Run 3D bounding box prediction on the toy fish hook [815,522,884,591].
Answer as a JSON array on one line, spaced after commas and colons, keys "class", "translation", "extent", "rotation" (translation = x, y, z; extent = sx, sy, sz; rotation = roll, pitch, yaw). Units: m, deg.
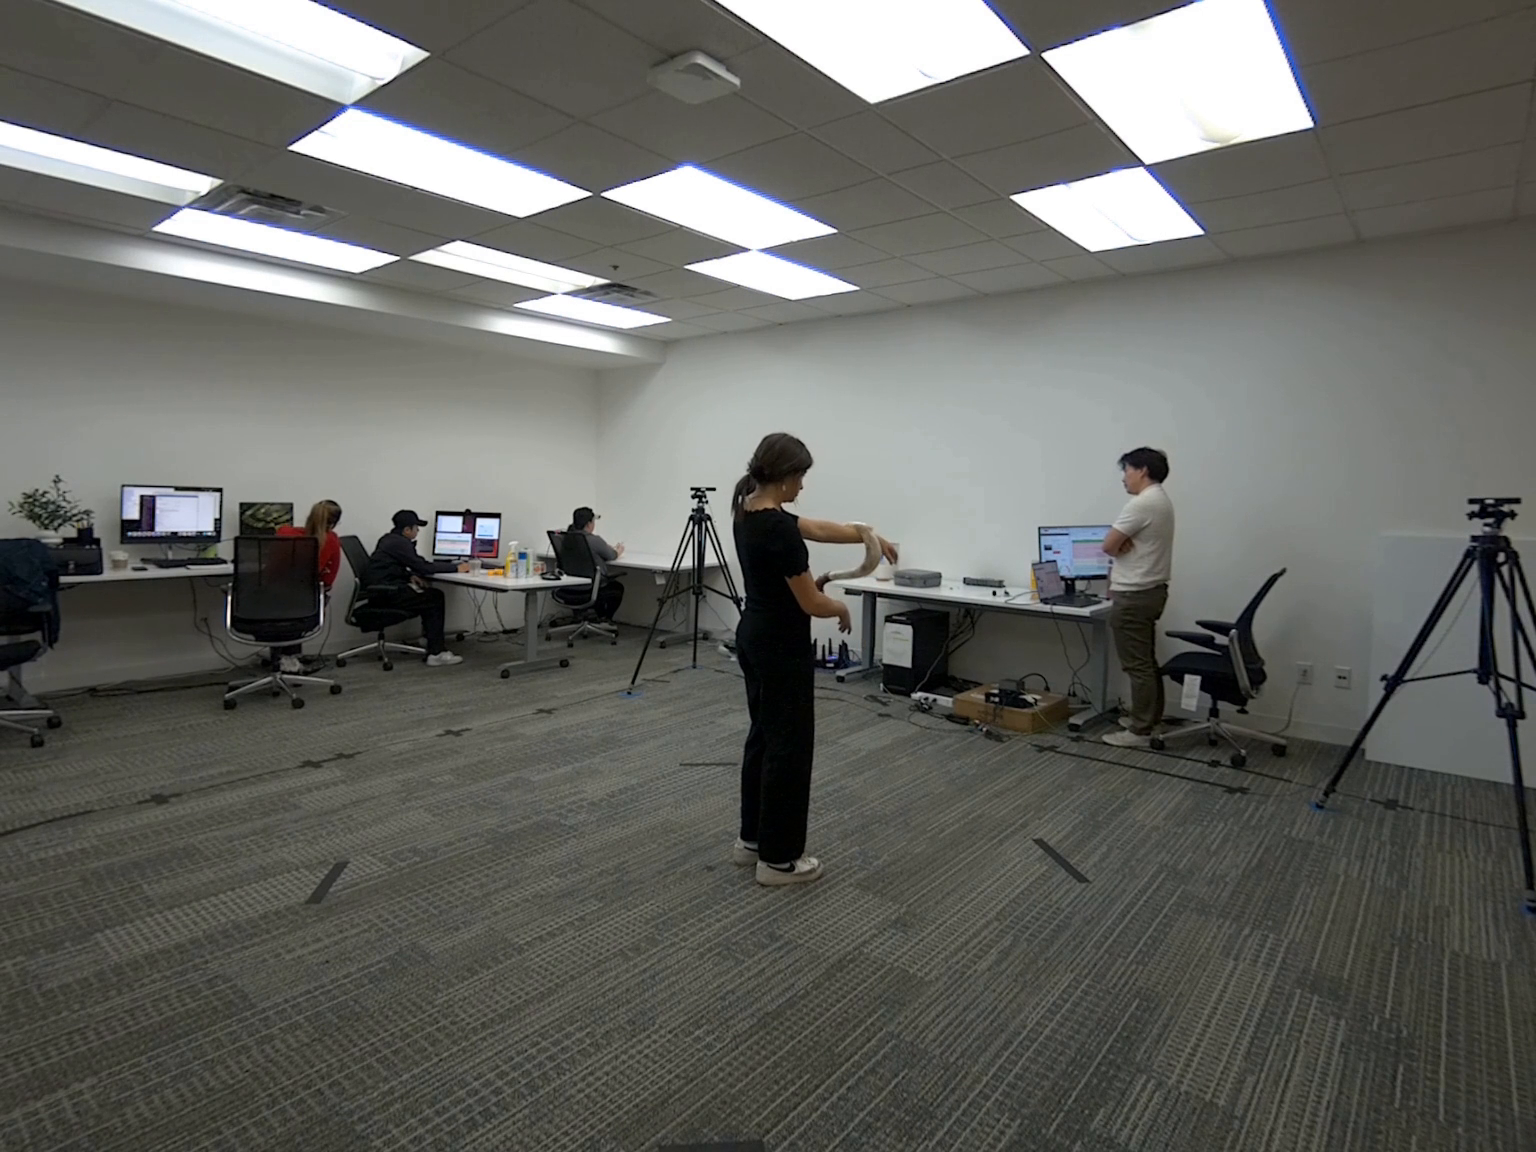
[{"class": "toy fish hook", "translation": [0.276, -0.057, 3.434], "extent": [0.047, 0.229, 0.511], "rotation": [-1, -21, -36]}]
